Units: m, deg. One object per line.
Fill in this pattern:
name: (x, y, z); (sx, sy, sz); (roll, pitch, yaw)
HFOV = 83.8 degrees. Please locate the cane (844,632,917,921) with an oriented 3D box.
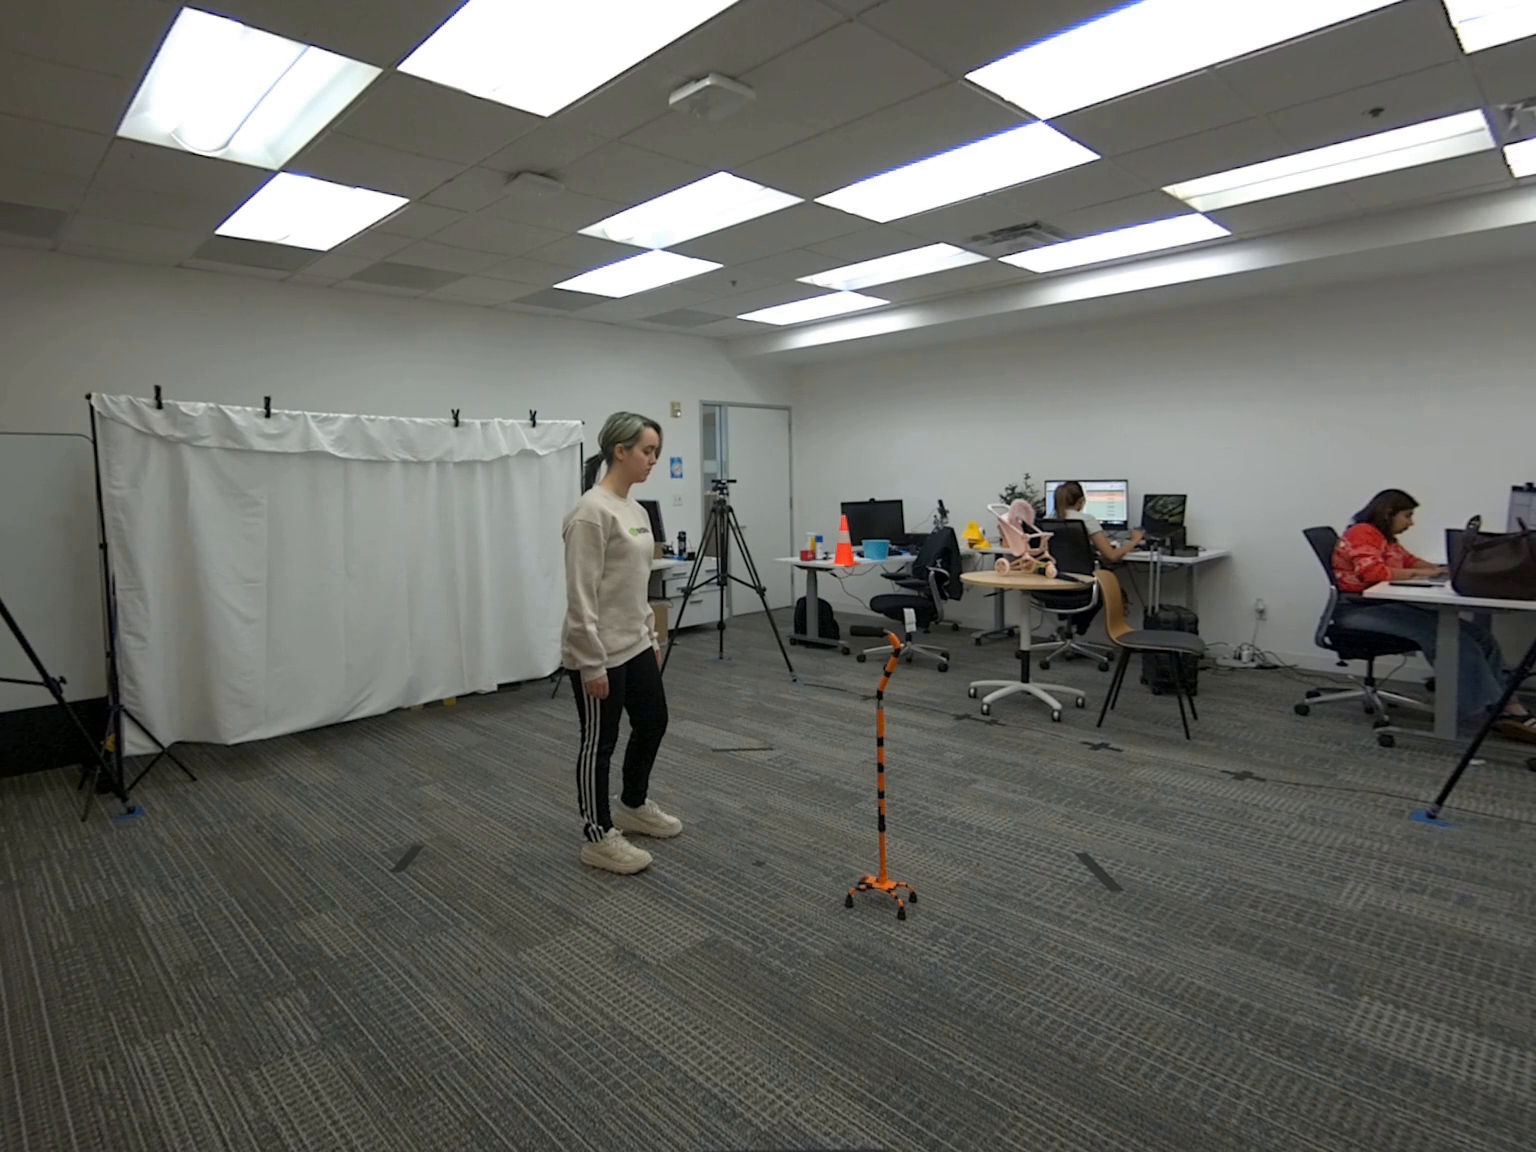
cane: (0.370, 0.622, 2.770); (0.211, 0.905, 0.148); (1, 4, 26)
